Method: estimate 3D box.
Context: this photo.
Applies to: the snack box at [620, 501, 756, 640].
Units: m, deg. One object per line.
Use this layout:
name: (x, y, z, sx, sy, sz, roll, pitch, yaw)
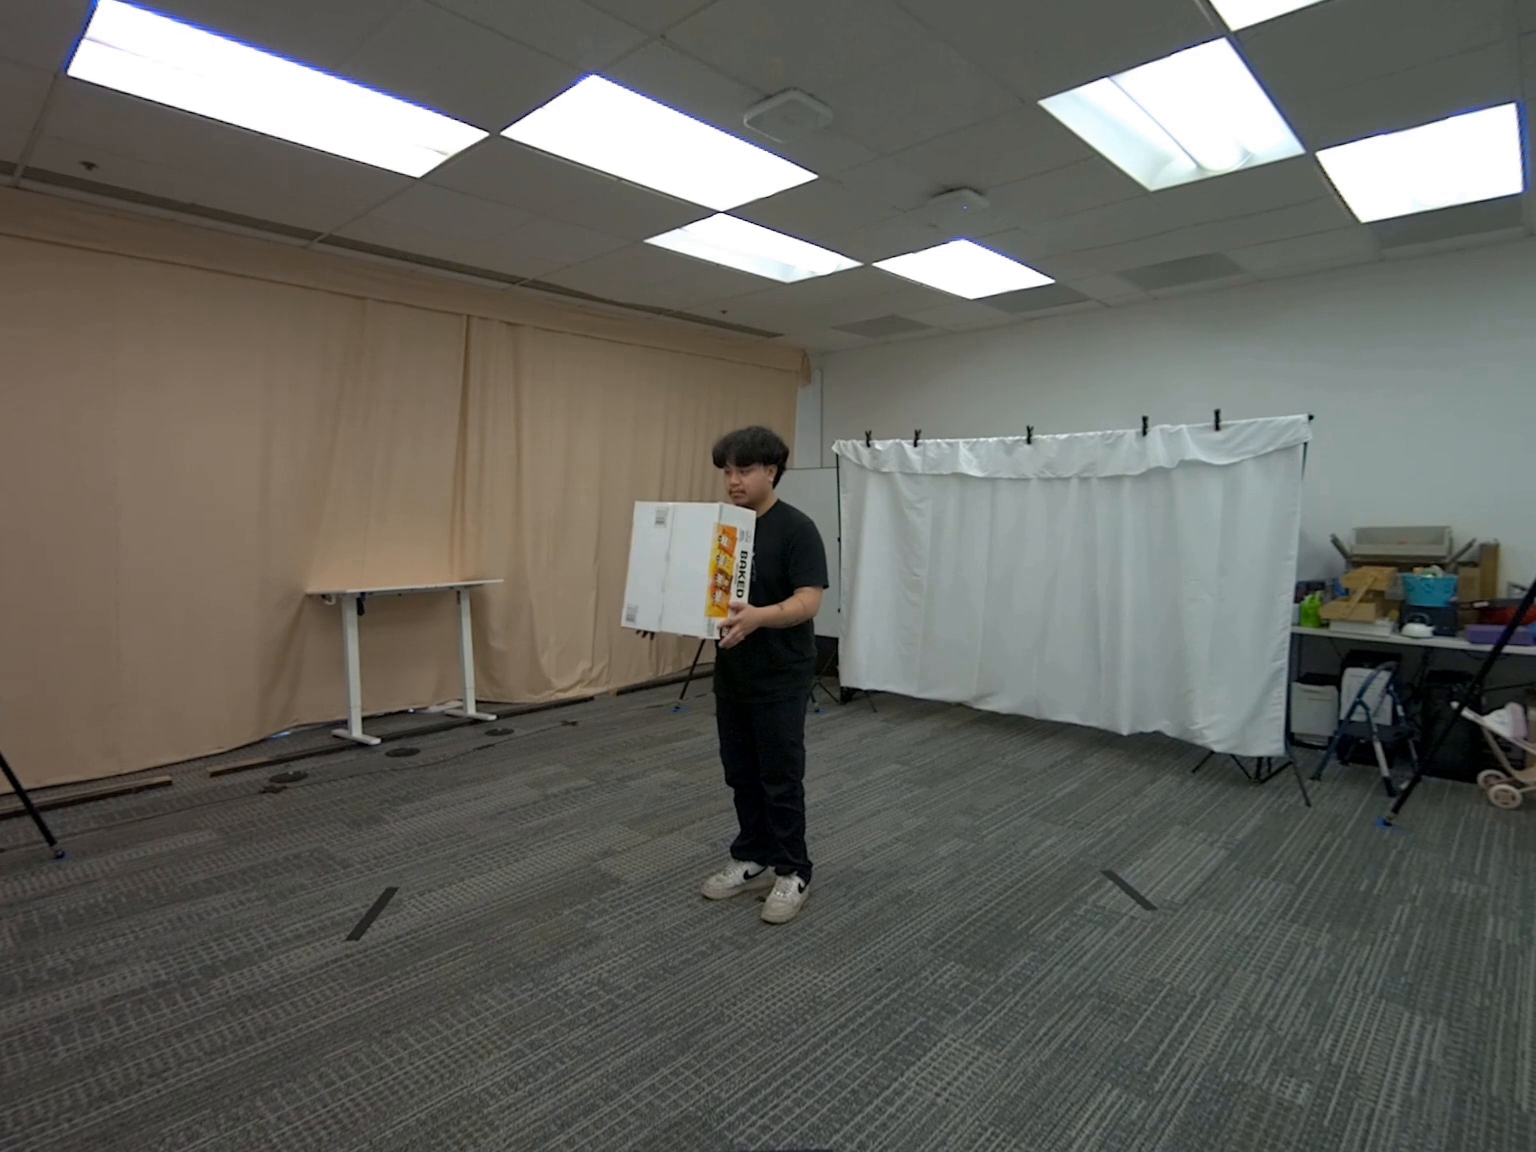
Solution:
snack box: (-0.248, -0.017, 2.658, 0.351, 0.406, 0.199, 4, -3, 35)
